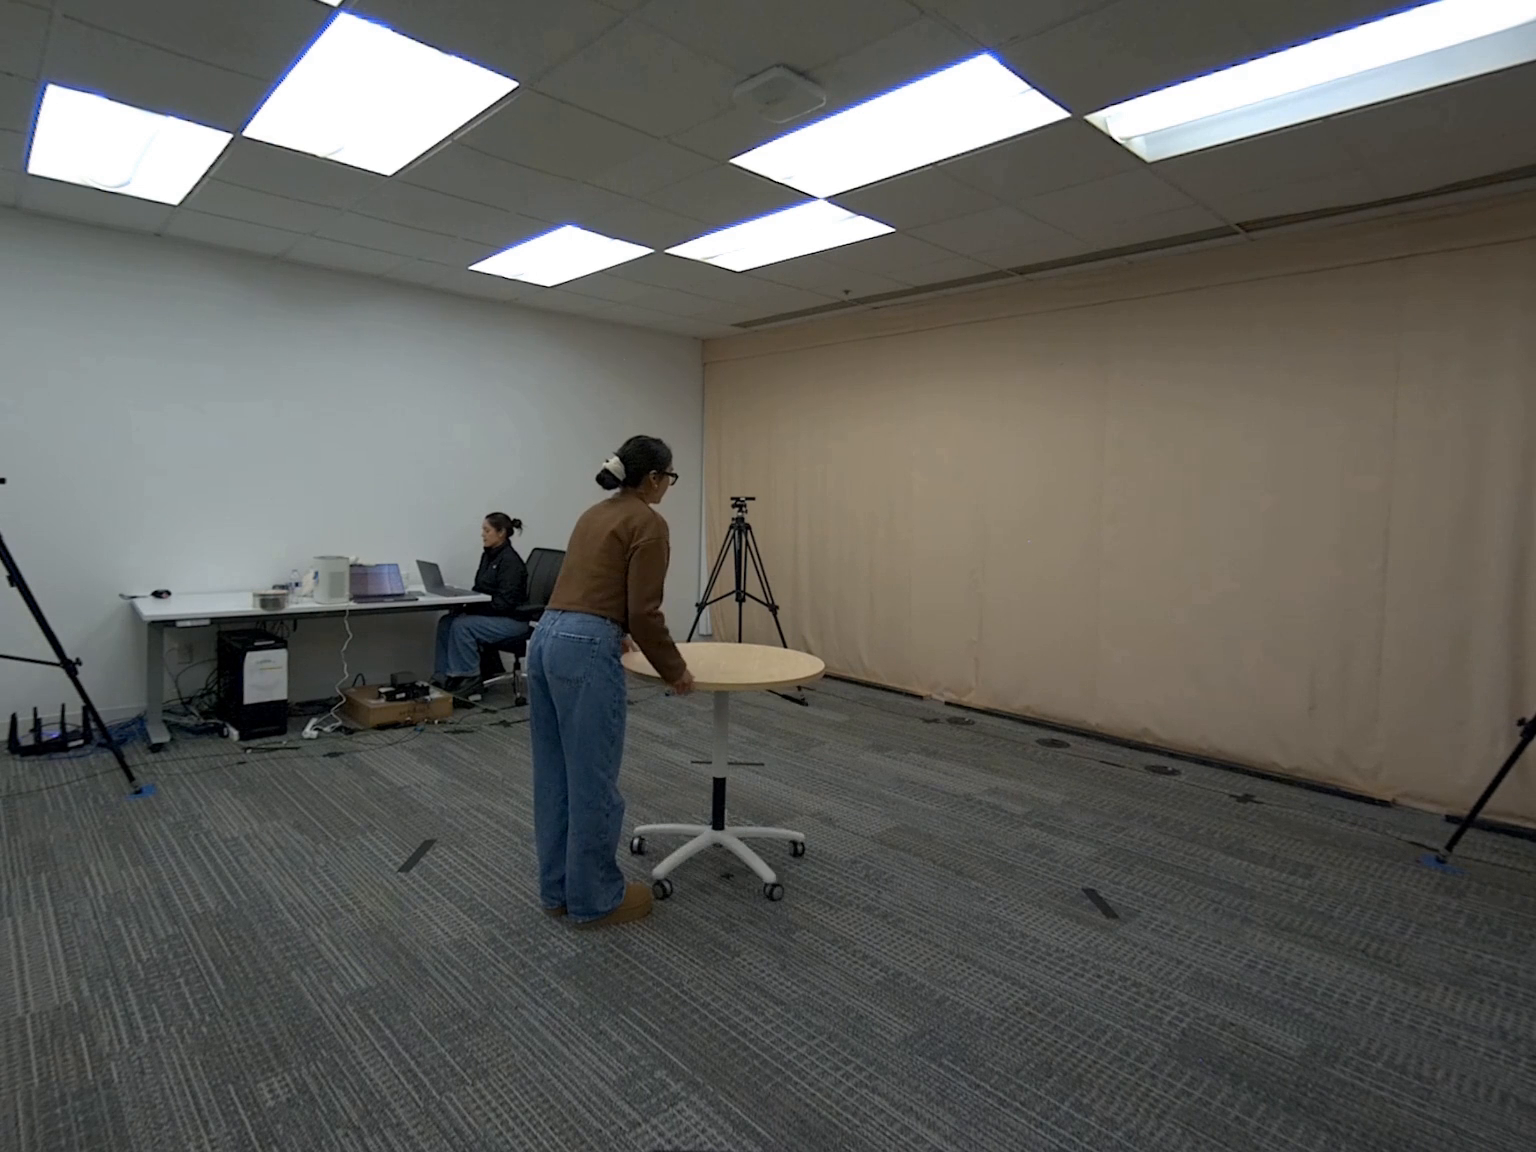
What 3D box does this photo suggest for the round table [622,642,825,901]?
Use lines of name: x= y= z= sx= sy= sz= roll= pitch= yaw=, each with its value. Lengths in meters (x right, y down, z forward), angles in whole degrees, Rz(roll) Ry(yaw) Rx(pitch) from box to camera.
round table: x=-0.193 y=0.710 z=3.174 sx=0.763 sy=0.792 sz=0.766 roll=1 pitch=4 yaw=-1
